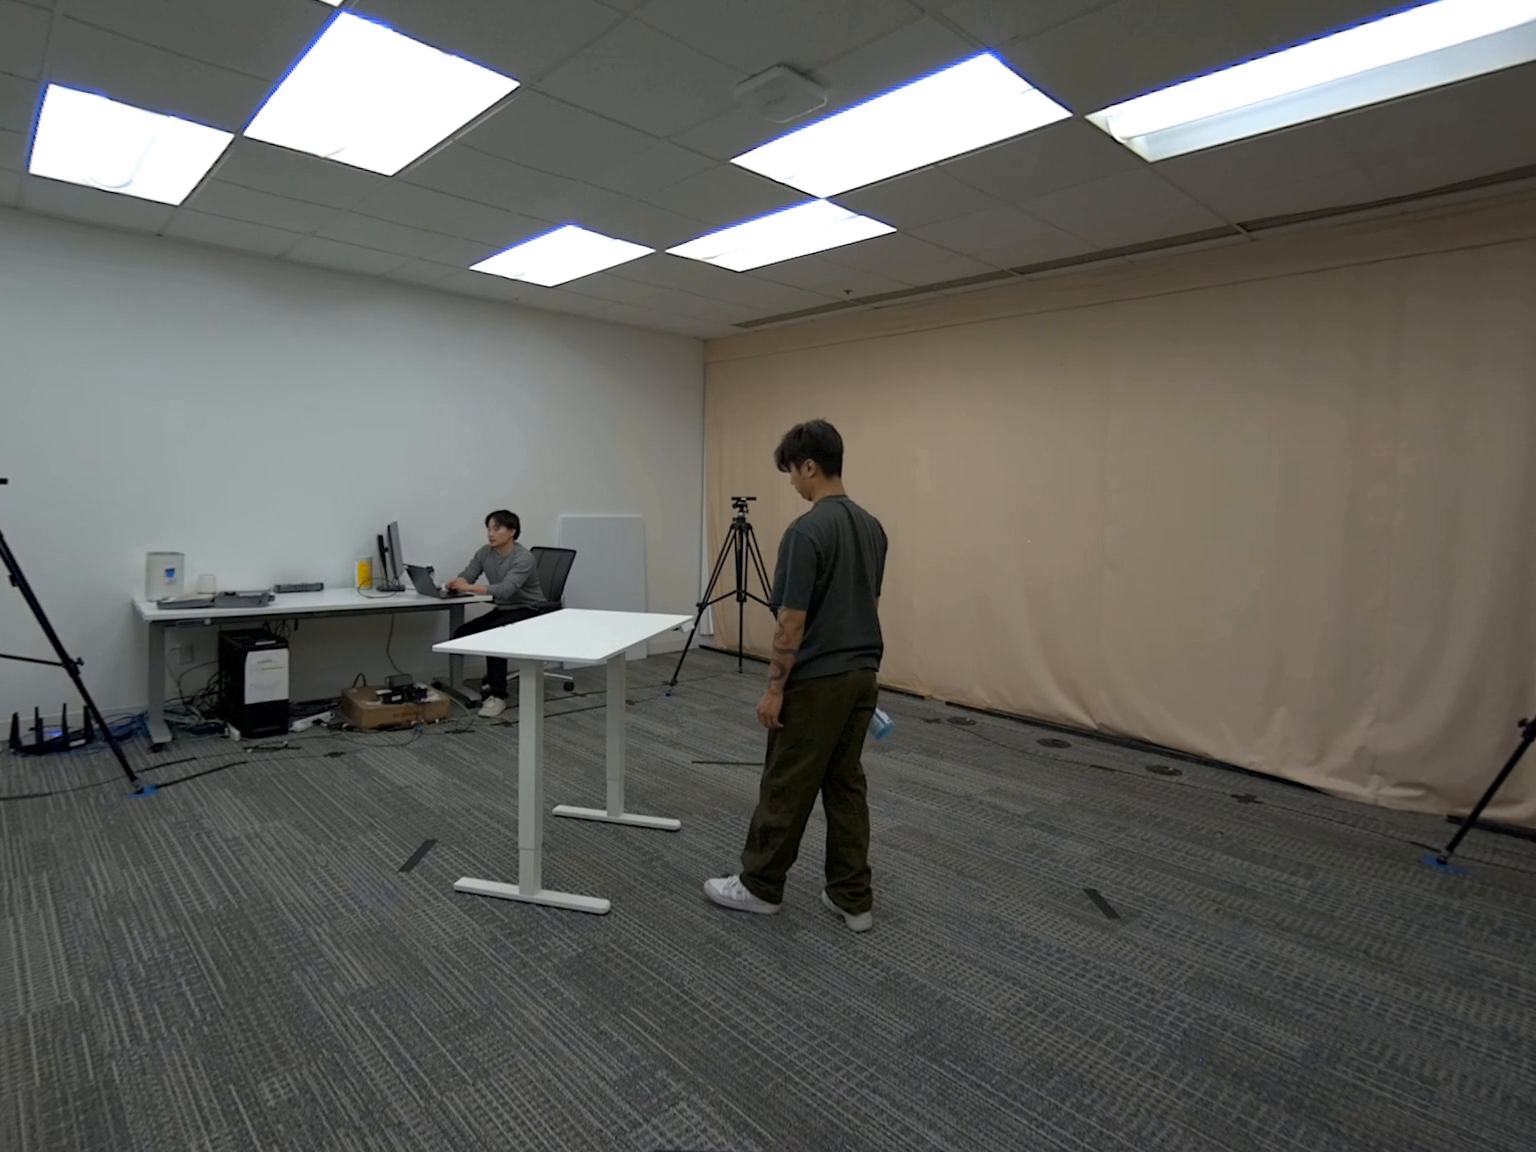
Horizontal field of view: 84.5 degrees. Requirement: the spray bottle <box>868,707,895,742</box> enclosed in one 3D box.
[{"bbox_3d":[0.322,0.454,3.027,0.086,0.305,0.088,-32,-27,-21],"label":"spray bottle"}]
